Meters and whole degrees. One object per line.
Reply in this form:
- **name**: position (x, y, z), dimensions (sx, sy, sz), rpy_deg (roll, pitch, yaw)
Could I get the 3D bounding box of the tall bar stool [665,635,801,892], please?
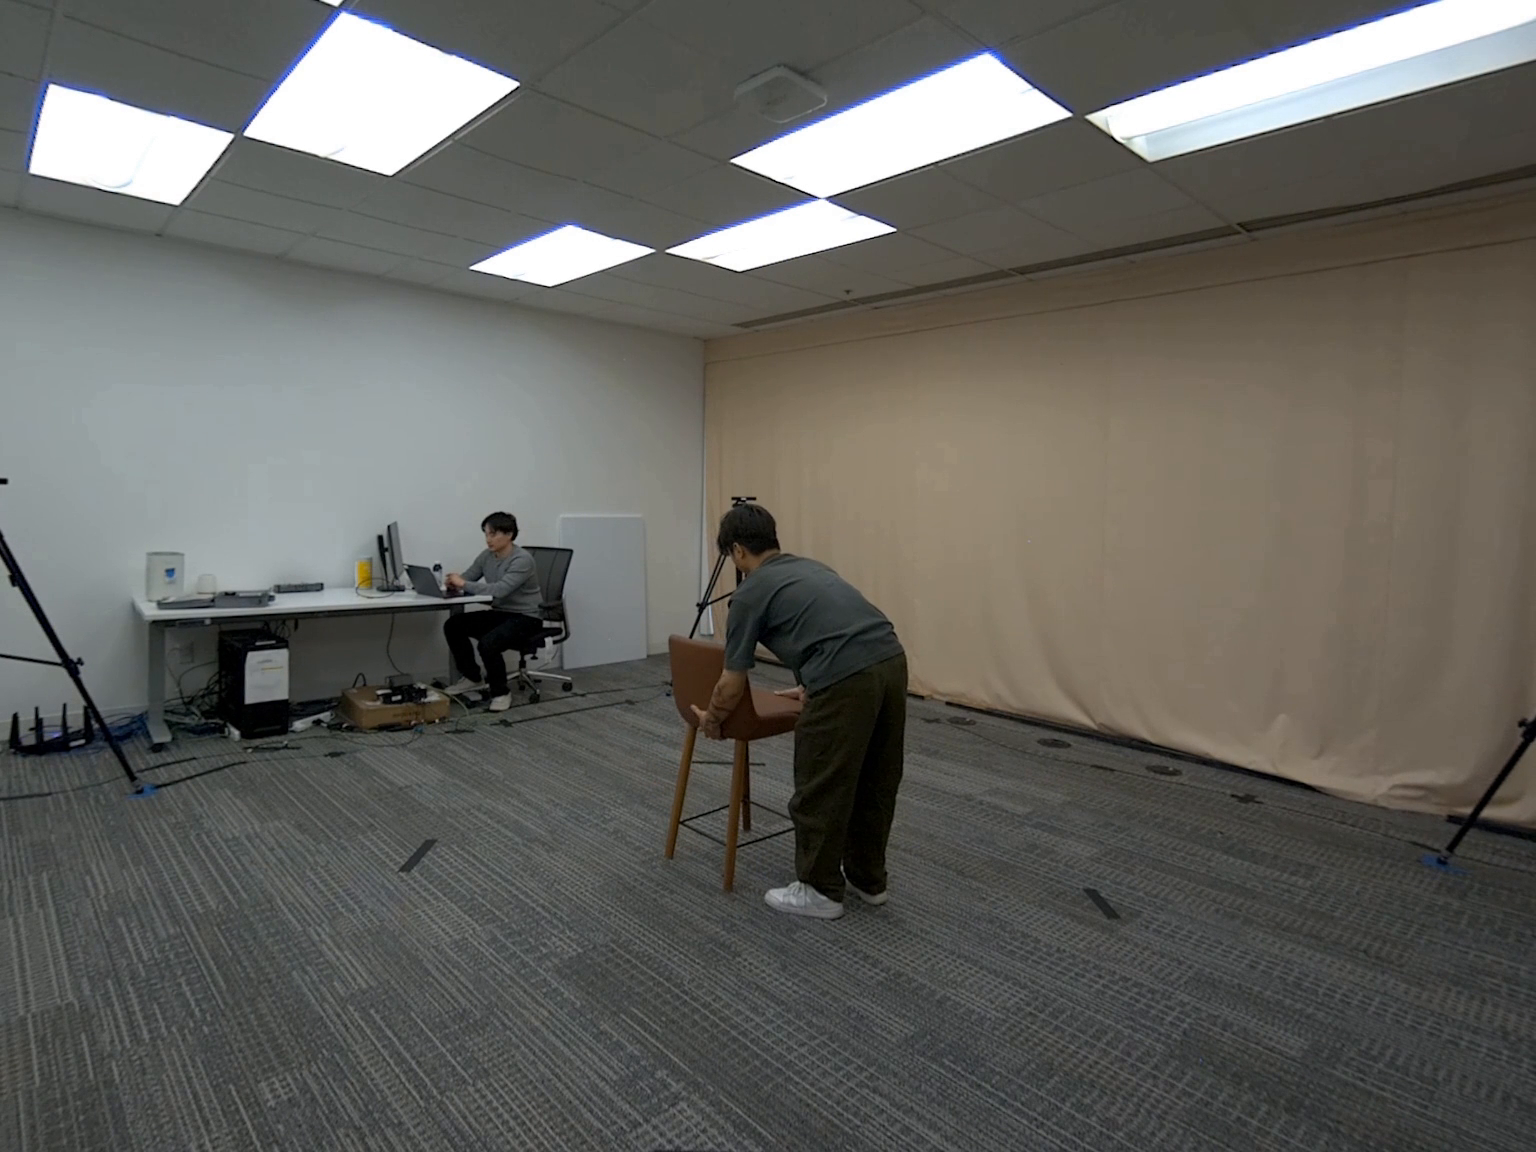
- **tall bar stool**: position (-0.113, 0.658, 3.232), dimensions (0.457, 0.887, 0.468), rpy_deg (-3, 5, -42)
